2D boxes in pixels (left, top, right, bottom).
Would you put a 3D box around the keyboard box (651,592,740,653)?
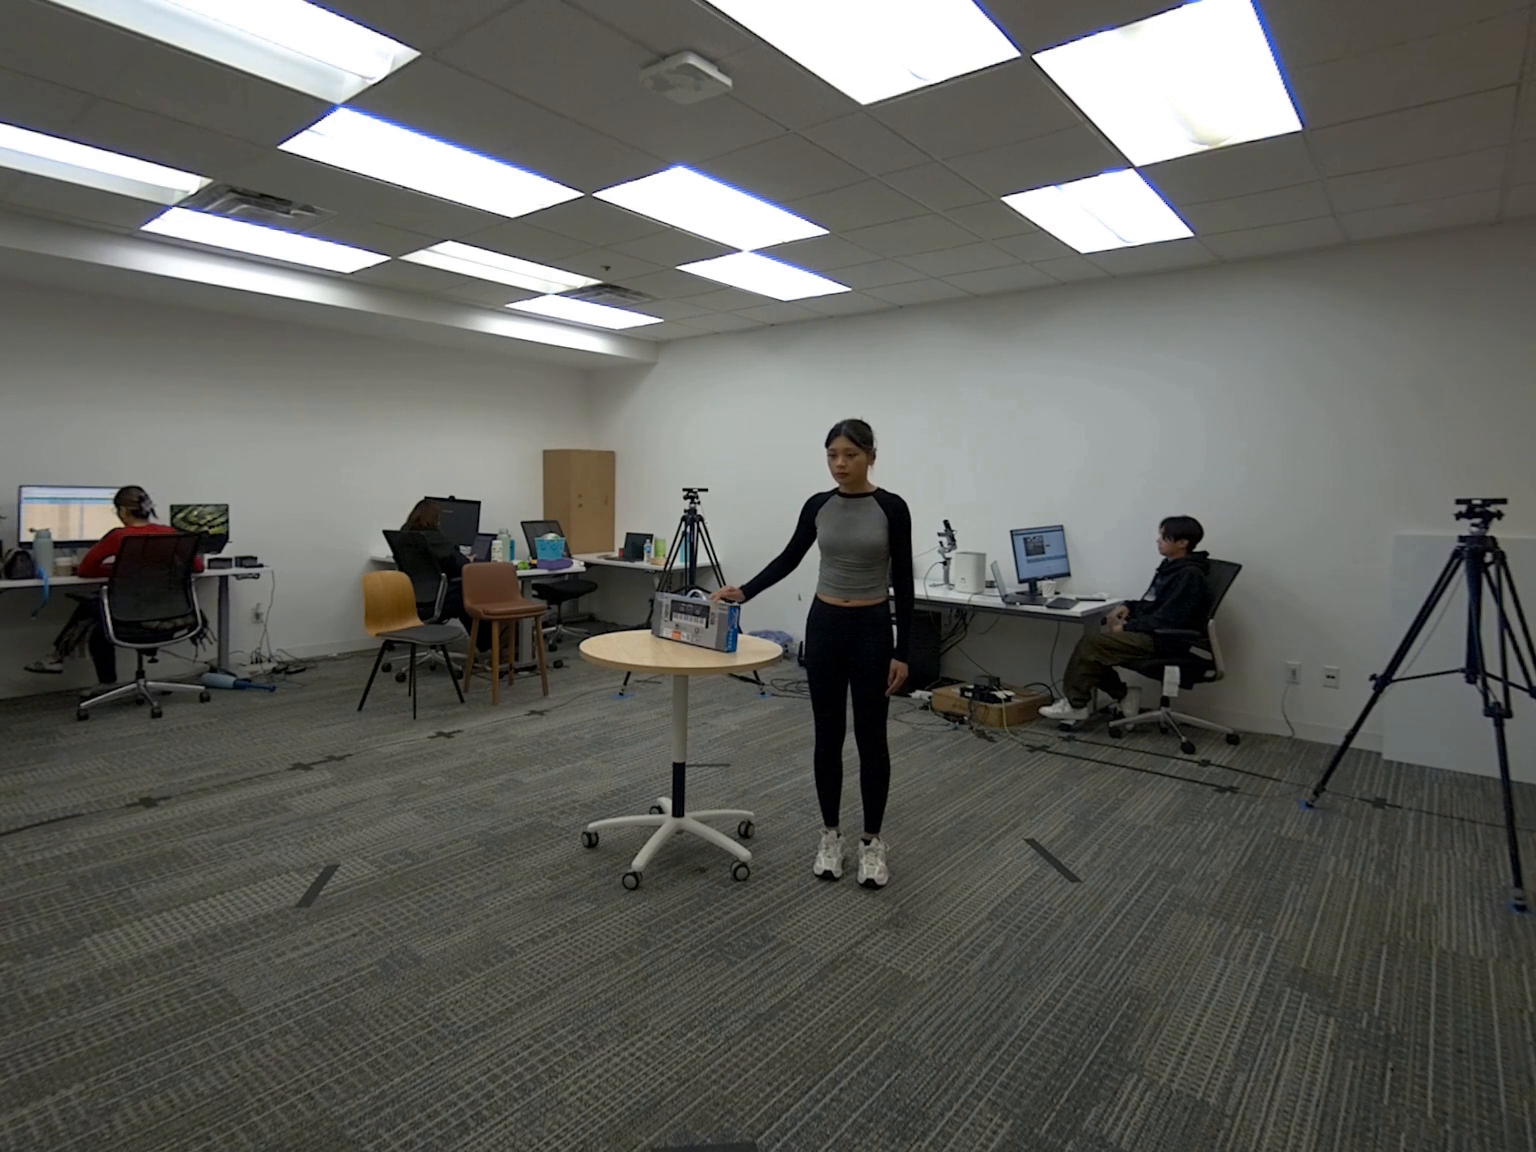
[{"bbox_3d":[-0.298,0.171,3.281,0.452,0.176,0.057,7,1,45],"label":"keyboard box"}]
